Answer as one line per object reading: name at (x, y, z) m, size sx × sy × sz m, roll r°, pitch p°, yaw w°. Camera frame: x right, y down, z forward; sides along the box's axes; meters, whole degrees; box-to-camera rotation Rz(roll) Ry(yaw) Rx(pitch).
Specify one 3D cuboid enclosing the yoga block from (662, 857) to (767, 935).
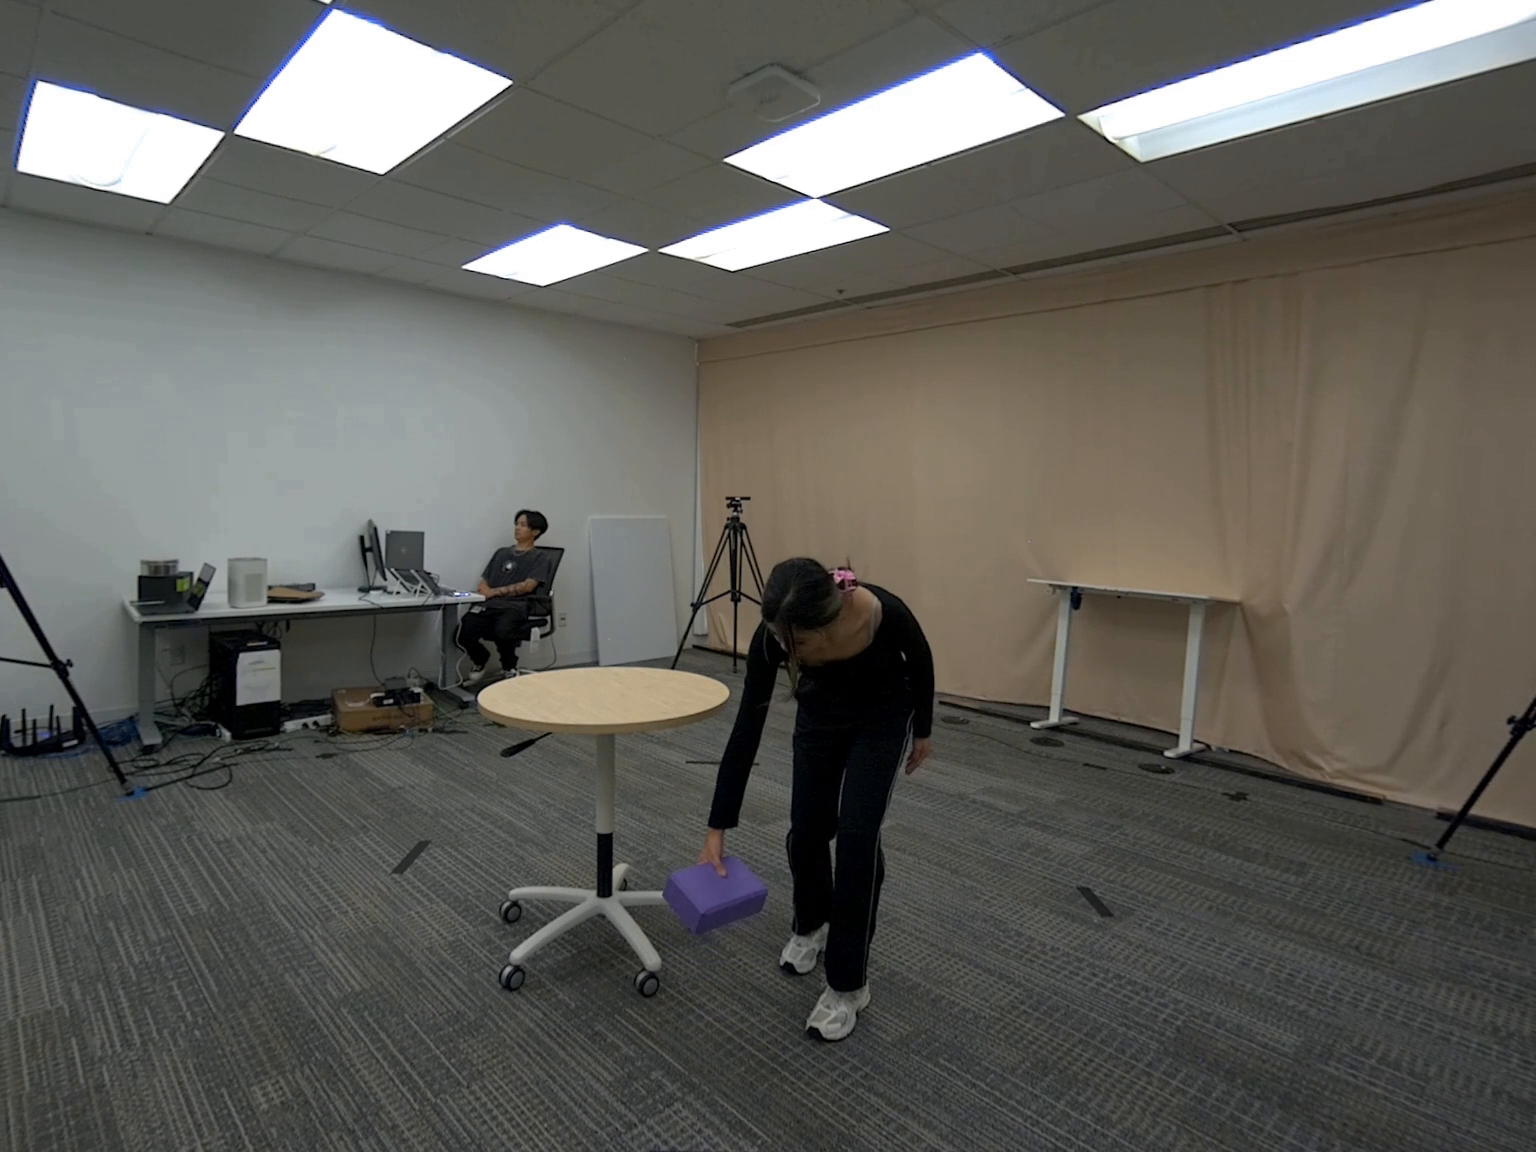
yoga block at (-0.129, 0.787, 2.067) m, size 0.153 × 0.076 × 0.224 m, roll 24°, pitch 18°, yaw 35°
